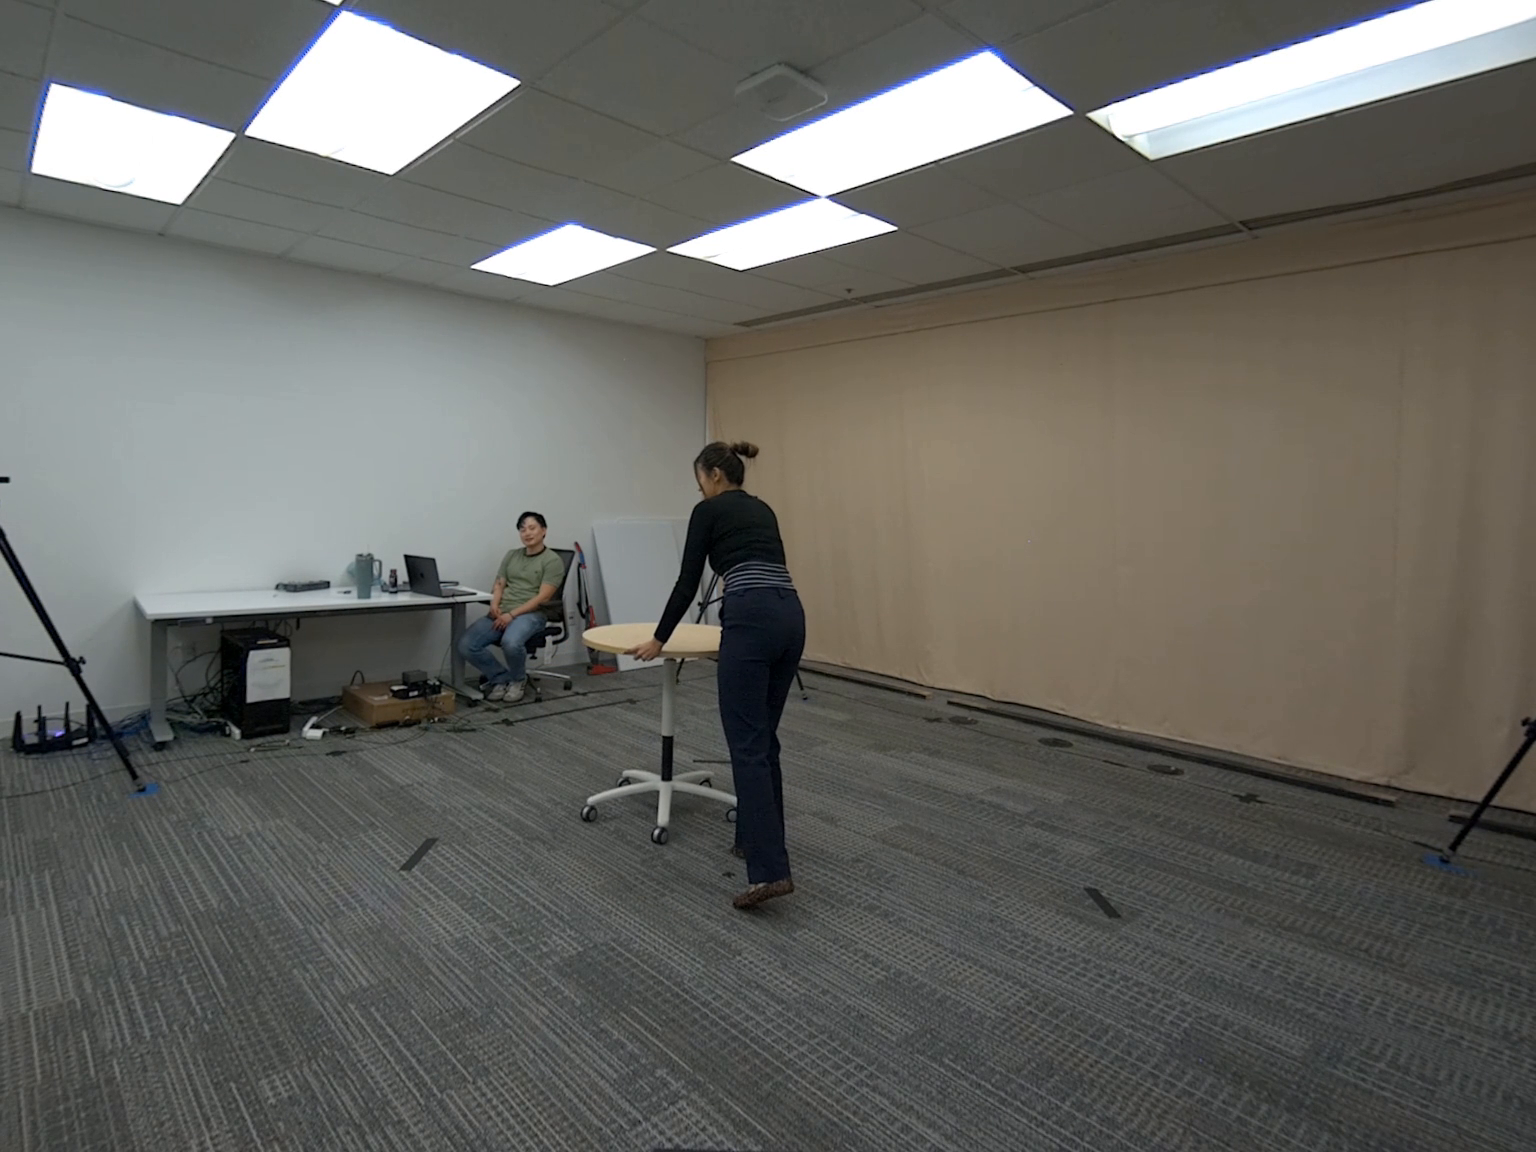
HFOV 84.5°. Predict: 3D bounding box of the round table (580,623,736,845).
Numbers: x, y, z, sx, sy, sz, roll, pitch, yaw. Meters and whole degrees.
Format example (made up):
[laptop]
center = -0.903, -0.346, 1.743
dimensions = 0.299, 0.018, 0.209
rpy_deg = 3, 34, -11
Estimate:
[round table]
center = -0.451, 0.655, 3.694
dimensions = 0.763, 0.792, 0.766
rpy_deg = 2, 3, -1
